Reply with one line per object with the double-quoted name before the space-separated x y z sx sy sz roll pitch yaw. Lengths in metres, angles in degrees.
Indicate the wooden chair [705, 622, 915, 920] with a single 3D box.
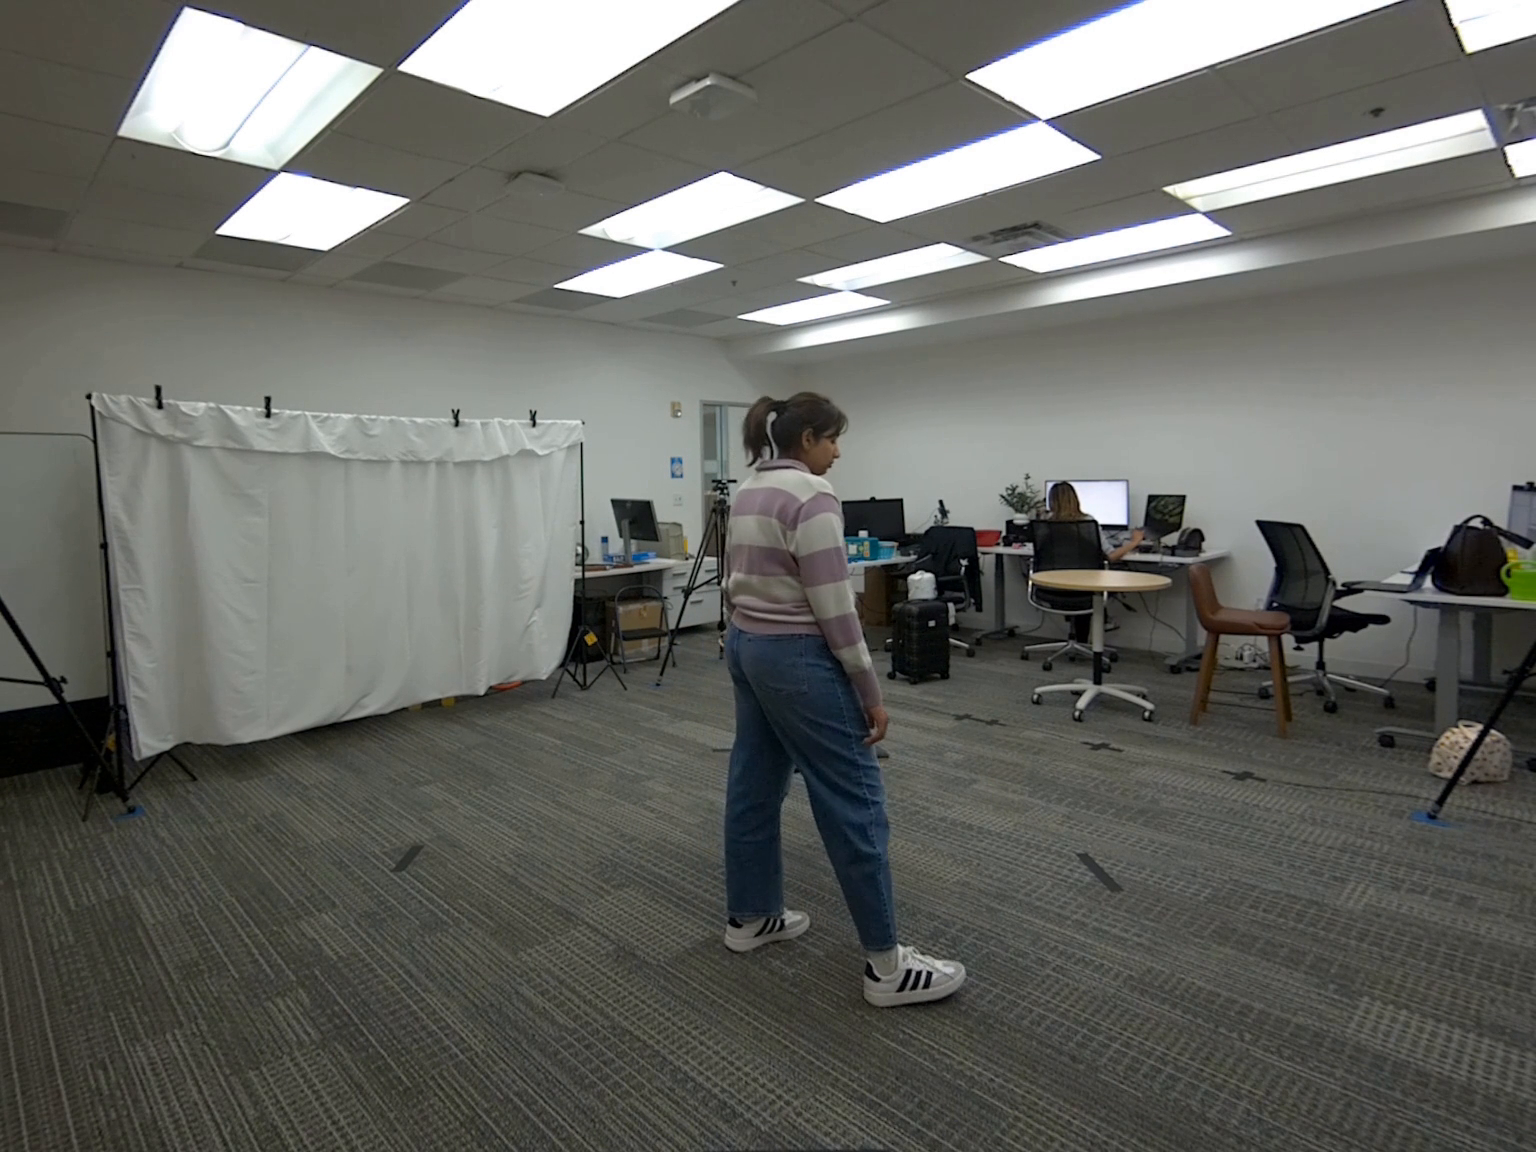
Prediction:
"wooden chair" 0.129 0.631 2.975 0.517 0.873 0.486 -6 5 -15
